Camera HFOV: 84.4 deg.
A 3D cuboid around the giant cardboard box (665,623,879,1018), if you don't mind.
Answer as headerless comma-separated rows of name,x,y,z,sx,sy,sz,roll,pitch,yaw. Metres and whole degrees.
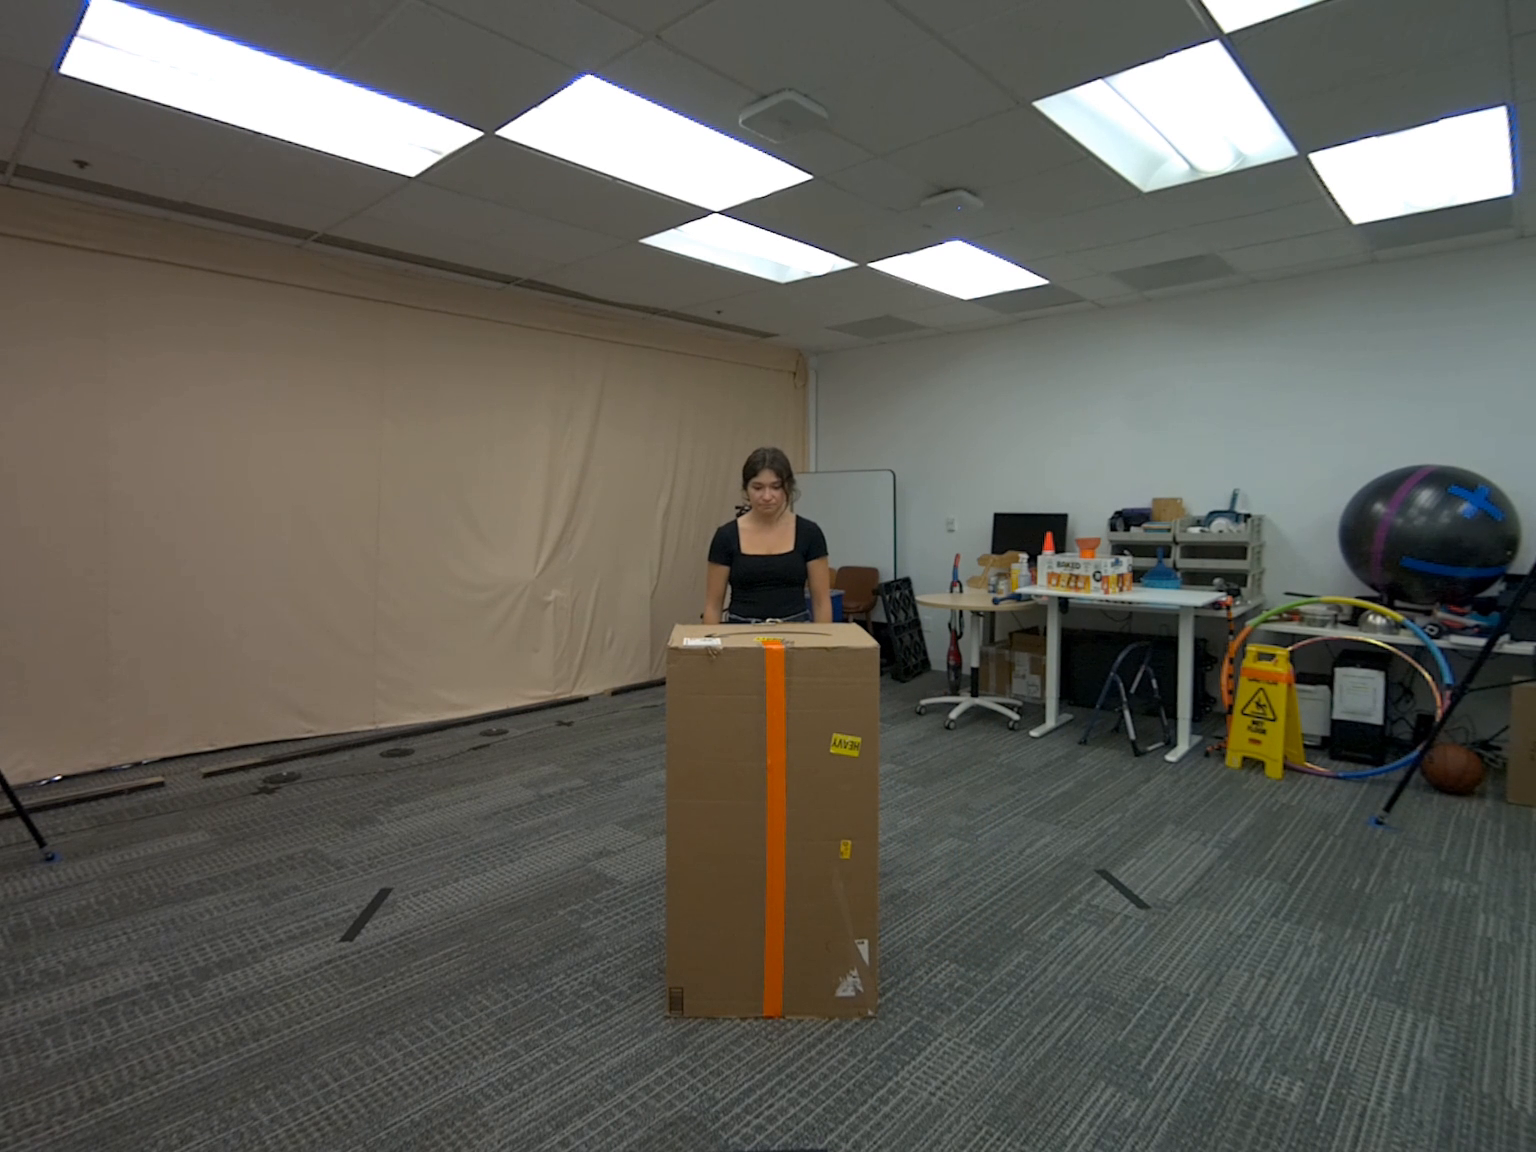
giant cardboard box,0.001,0.681,2.471,0.577,1.023,0.427,0,4,-1
